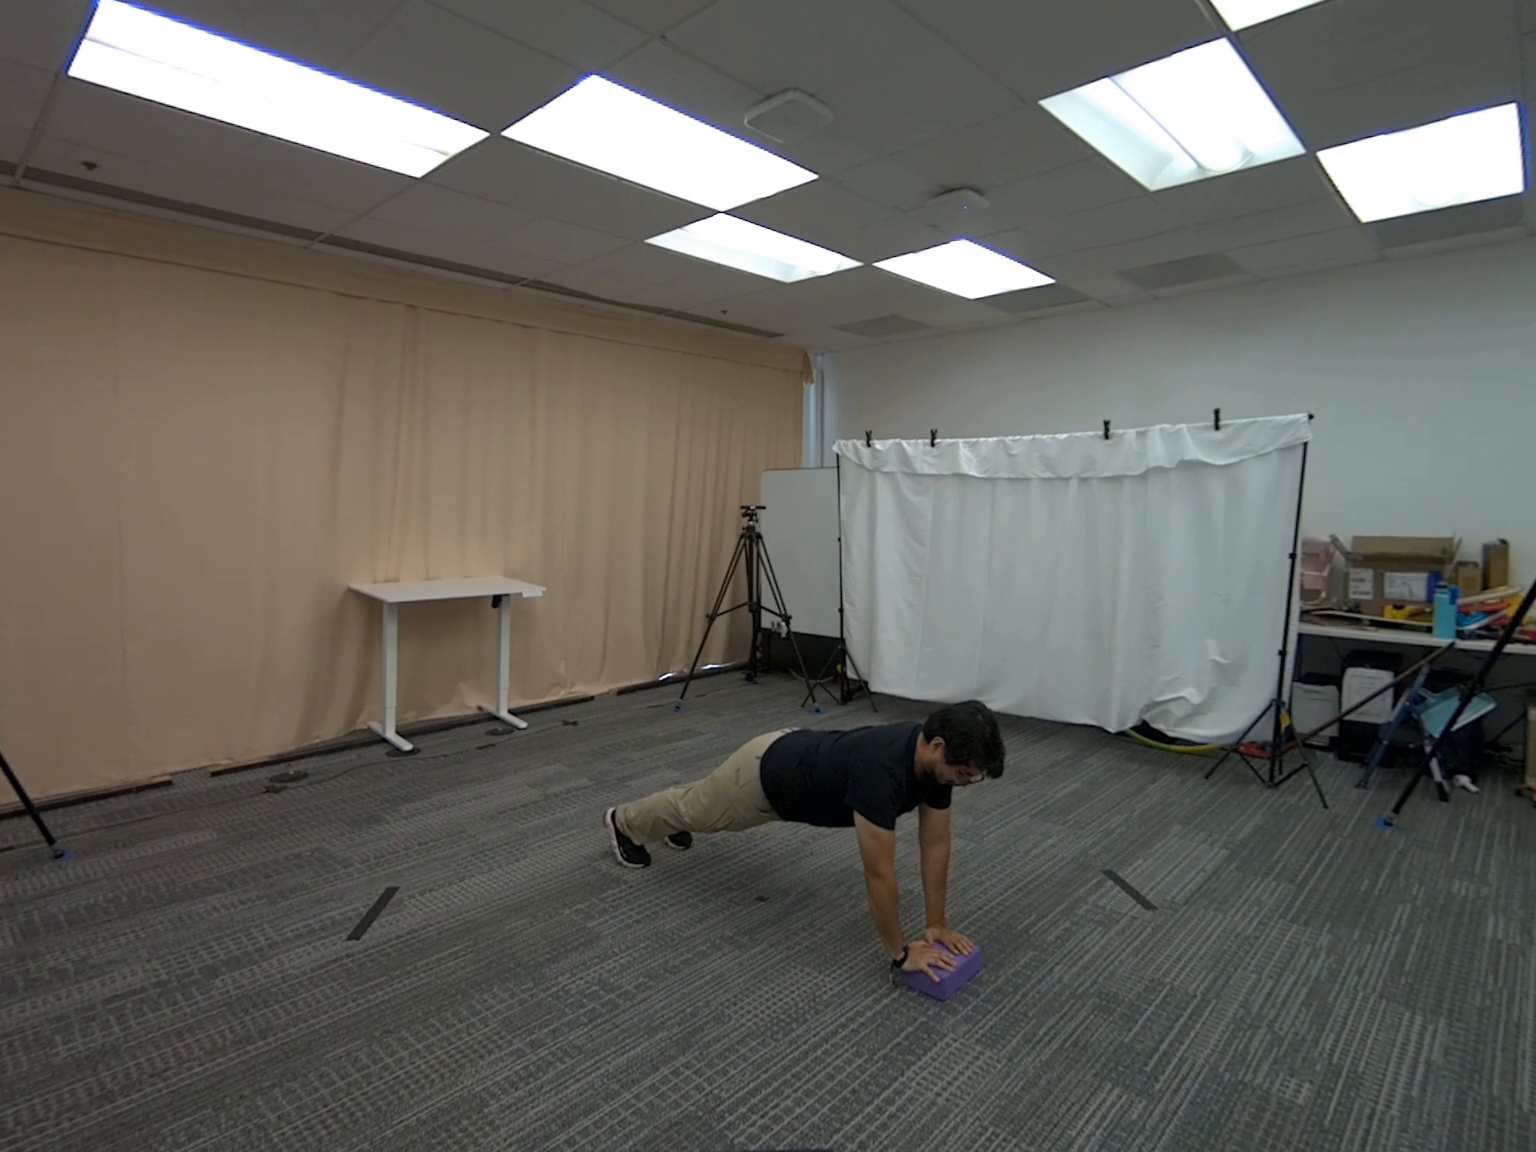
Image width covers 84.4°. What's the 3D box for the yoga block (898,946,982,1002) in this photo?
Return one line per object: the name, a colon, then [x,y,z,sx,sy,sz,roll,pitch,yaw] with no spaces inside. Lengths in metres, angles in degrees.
yoga block: [0.516,1.150,2.481,0.154,0.076,0.222,7,8,41]
